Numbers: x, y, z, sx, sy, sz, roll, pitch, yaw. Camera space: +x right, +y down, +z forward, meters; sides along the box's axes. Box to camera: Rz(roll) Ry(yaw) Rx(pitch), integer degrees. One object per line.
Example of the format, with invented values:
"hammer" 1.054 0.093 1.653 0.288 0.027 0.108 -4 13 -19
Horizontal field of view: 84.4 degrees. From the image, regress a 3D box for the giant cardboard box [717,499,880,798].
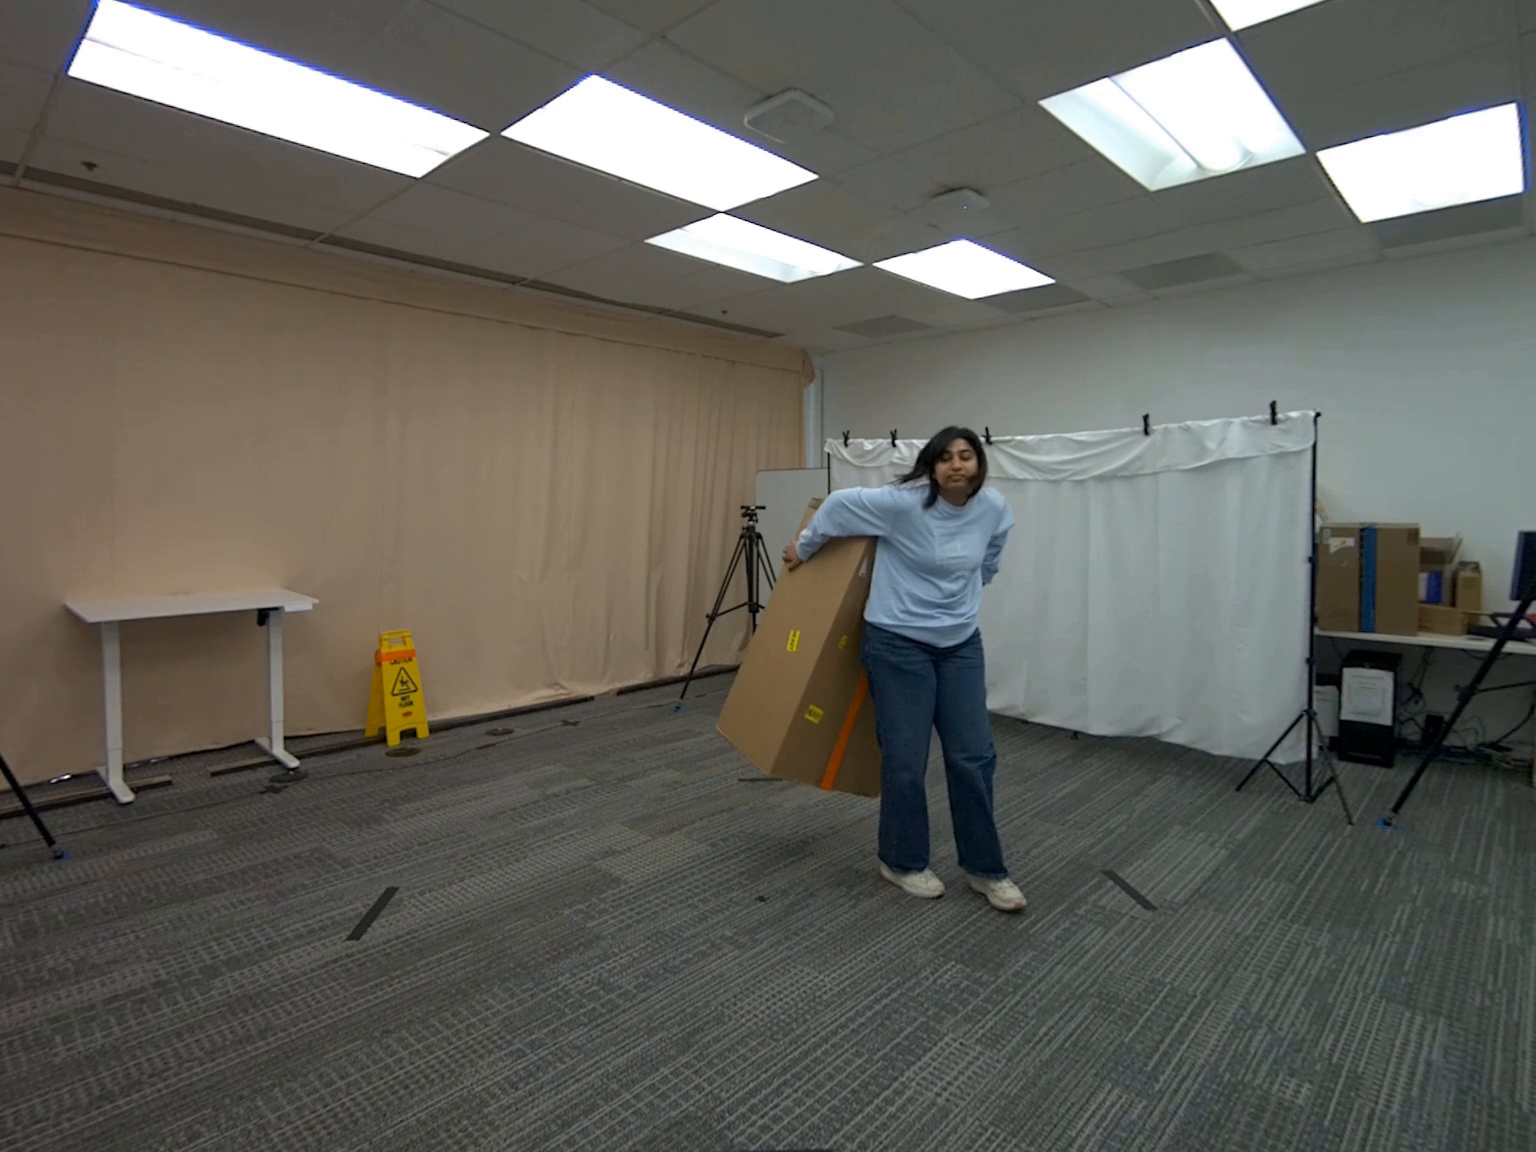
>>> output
"giant cardboard box" 0.307 0.289 3.351 0.558 1.025 0.441 21 4 -33
